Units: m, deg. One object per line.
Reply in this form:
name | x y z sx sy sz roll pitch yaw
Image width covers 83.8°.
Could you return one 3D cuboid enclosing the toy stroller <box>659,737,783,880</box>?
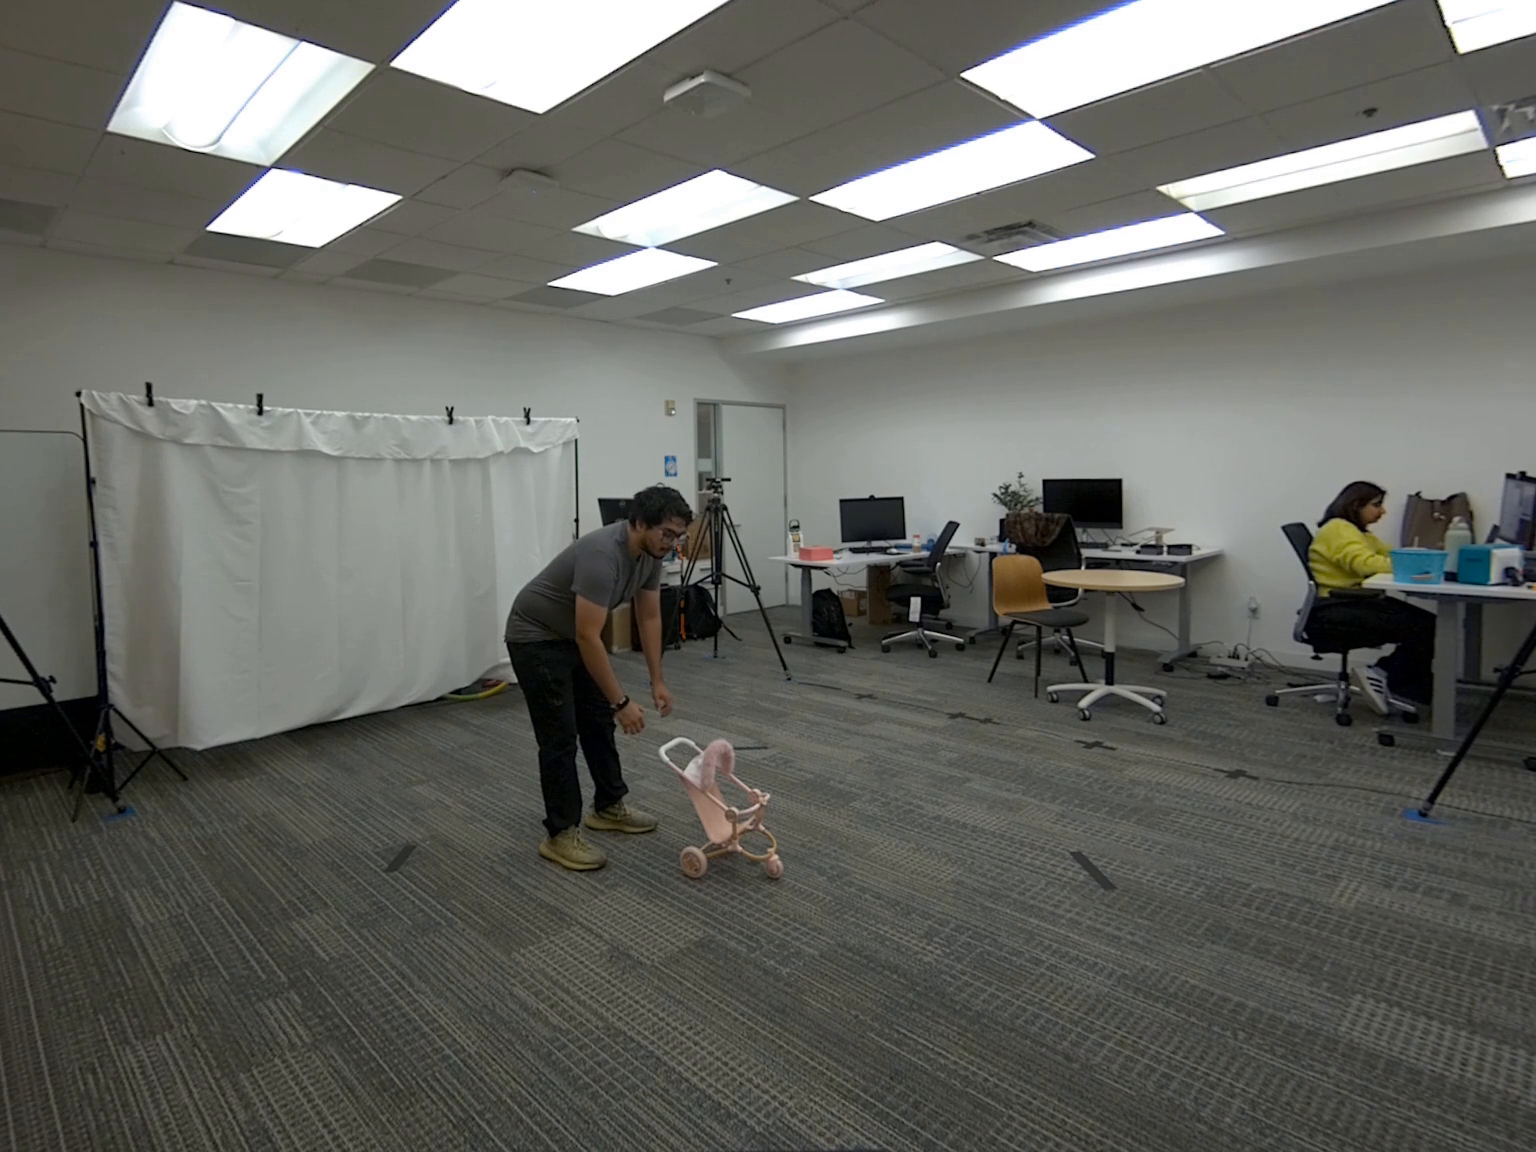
toy stroller | -0.153 0.828 3.058 0.347 0.538 0.275 -18 -5 32
